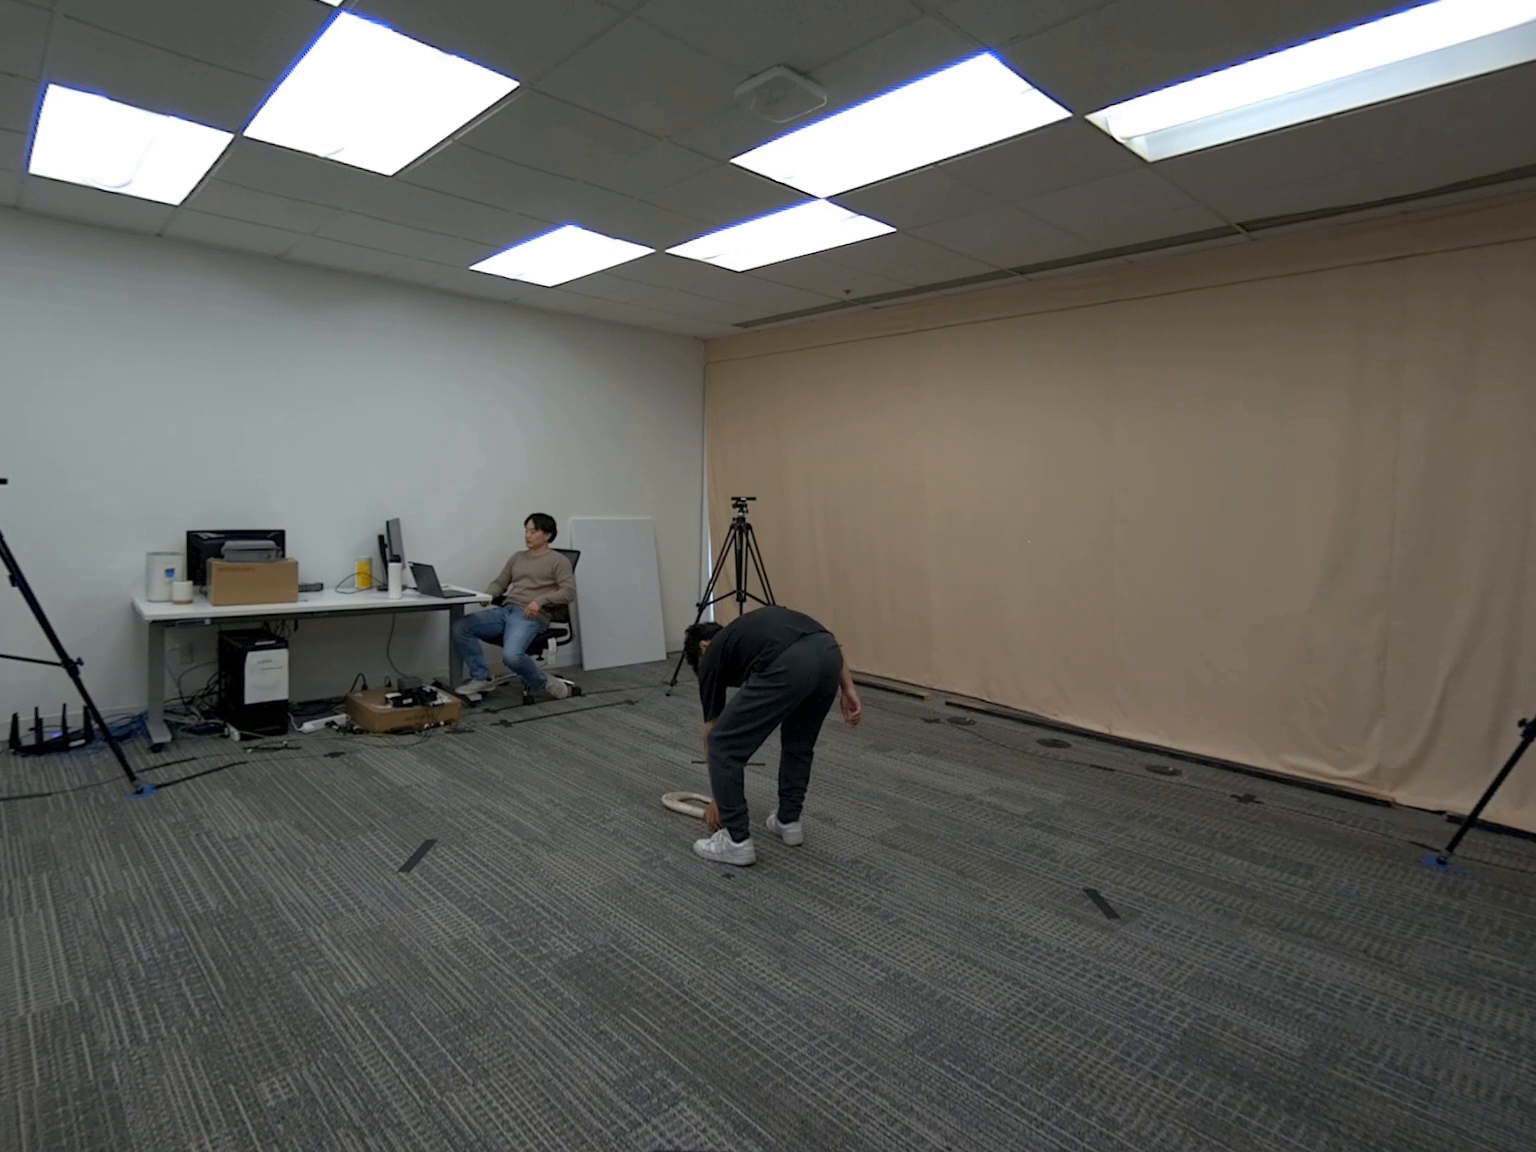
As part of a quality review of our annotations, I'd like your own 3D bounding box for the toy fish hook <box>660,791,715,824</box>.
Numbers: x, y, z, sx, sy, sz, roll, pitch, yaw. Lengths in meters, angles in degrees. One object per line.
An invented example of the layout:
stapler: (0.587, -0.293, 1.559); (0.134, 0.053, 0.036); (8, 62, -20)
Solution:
toy fish hook: (-0.277, 1.029, 3.709); (0.220, 0.048, 0.520); (-4, 8, -40)
